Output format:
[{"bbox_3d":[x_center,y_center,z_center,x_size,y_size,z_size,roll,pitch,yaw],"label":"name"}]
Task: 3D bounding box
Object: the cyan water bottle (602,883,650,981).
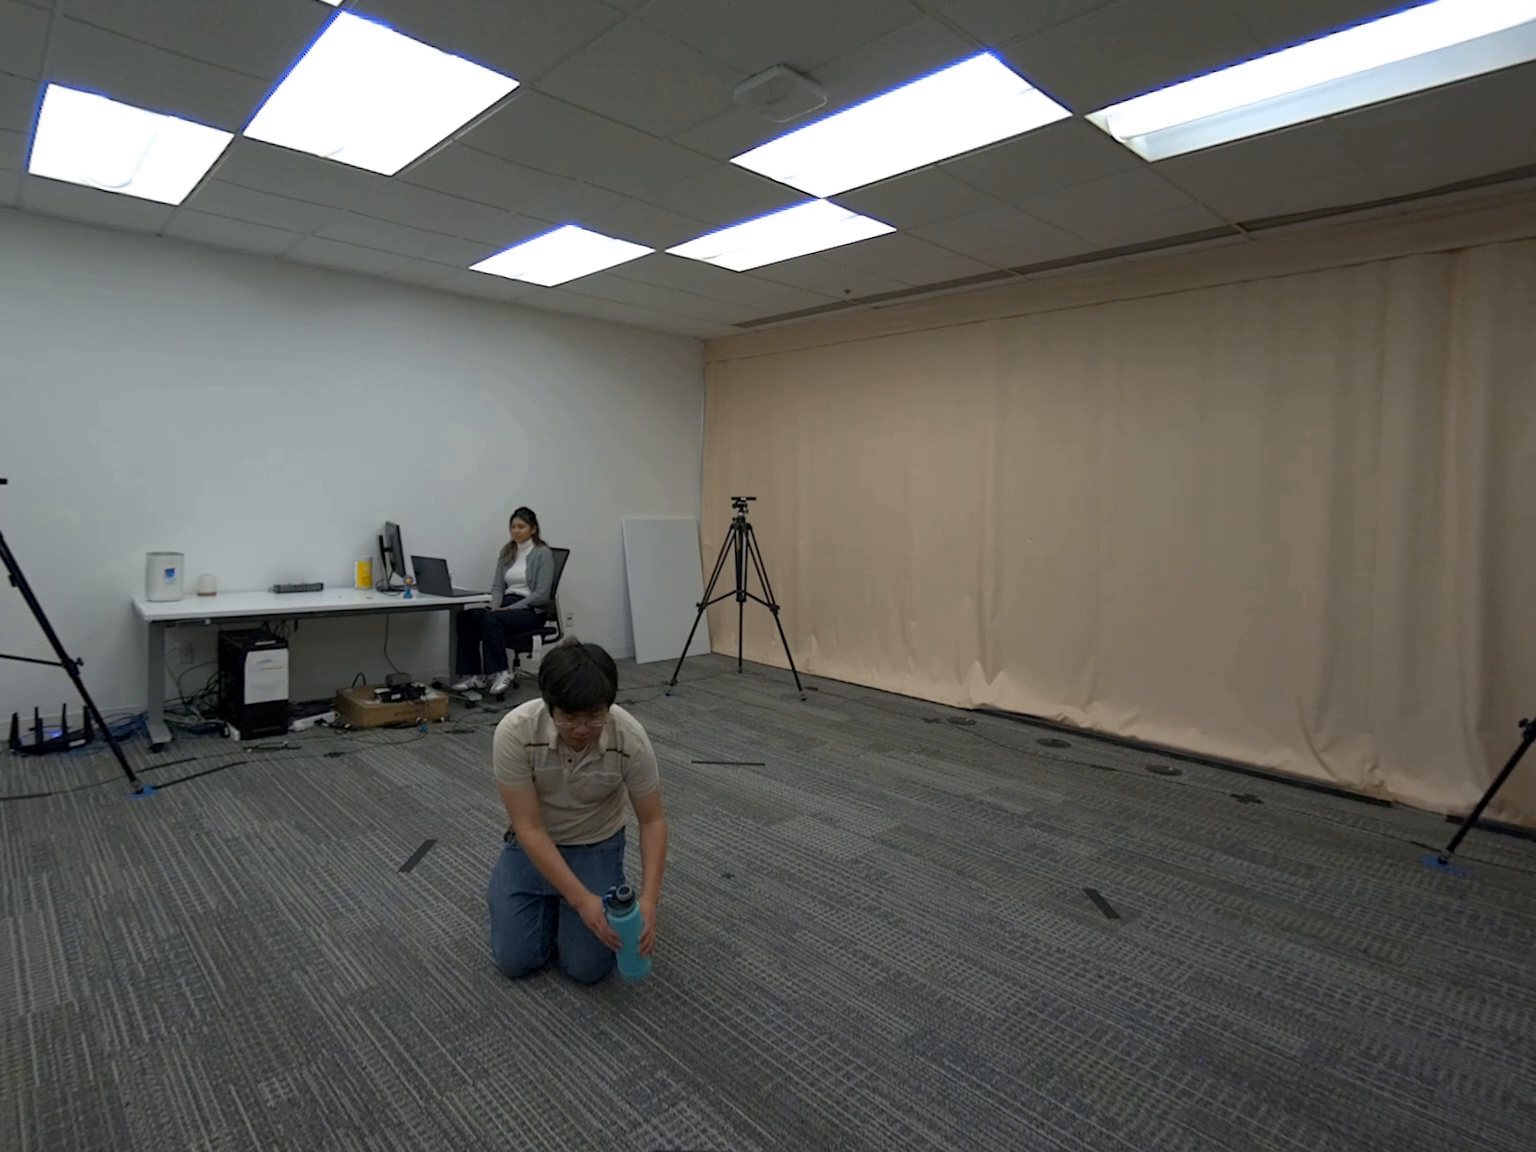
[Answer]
[{"bbox_3d":[-0.403,0.967,2.251,0.092,0.279,0.094,-4,20,0],"label":"cyan water bottle"}]
